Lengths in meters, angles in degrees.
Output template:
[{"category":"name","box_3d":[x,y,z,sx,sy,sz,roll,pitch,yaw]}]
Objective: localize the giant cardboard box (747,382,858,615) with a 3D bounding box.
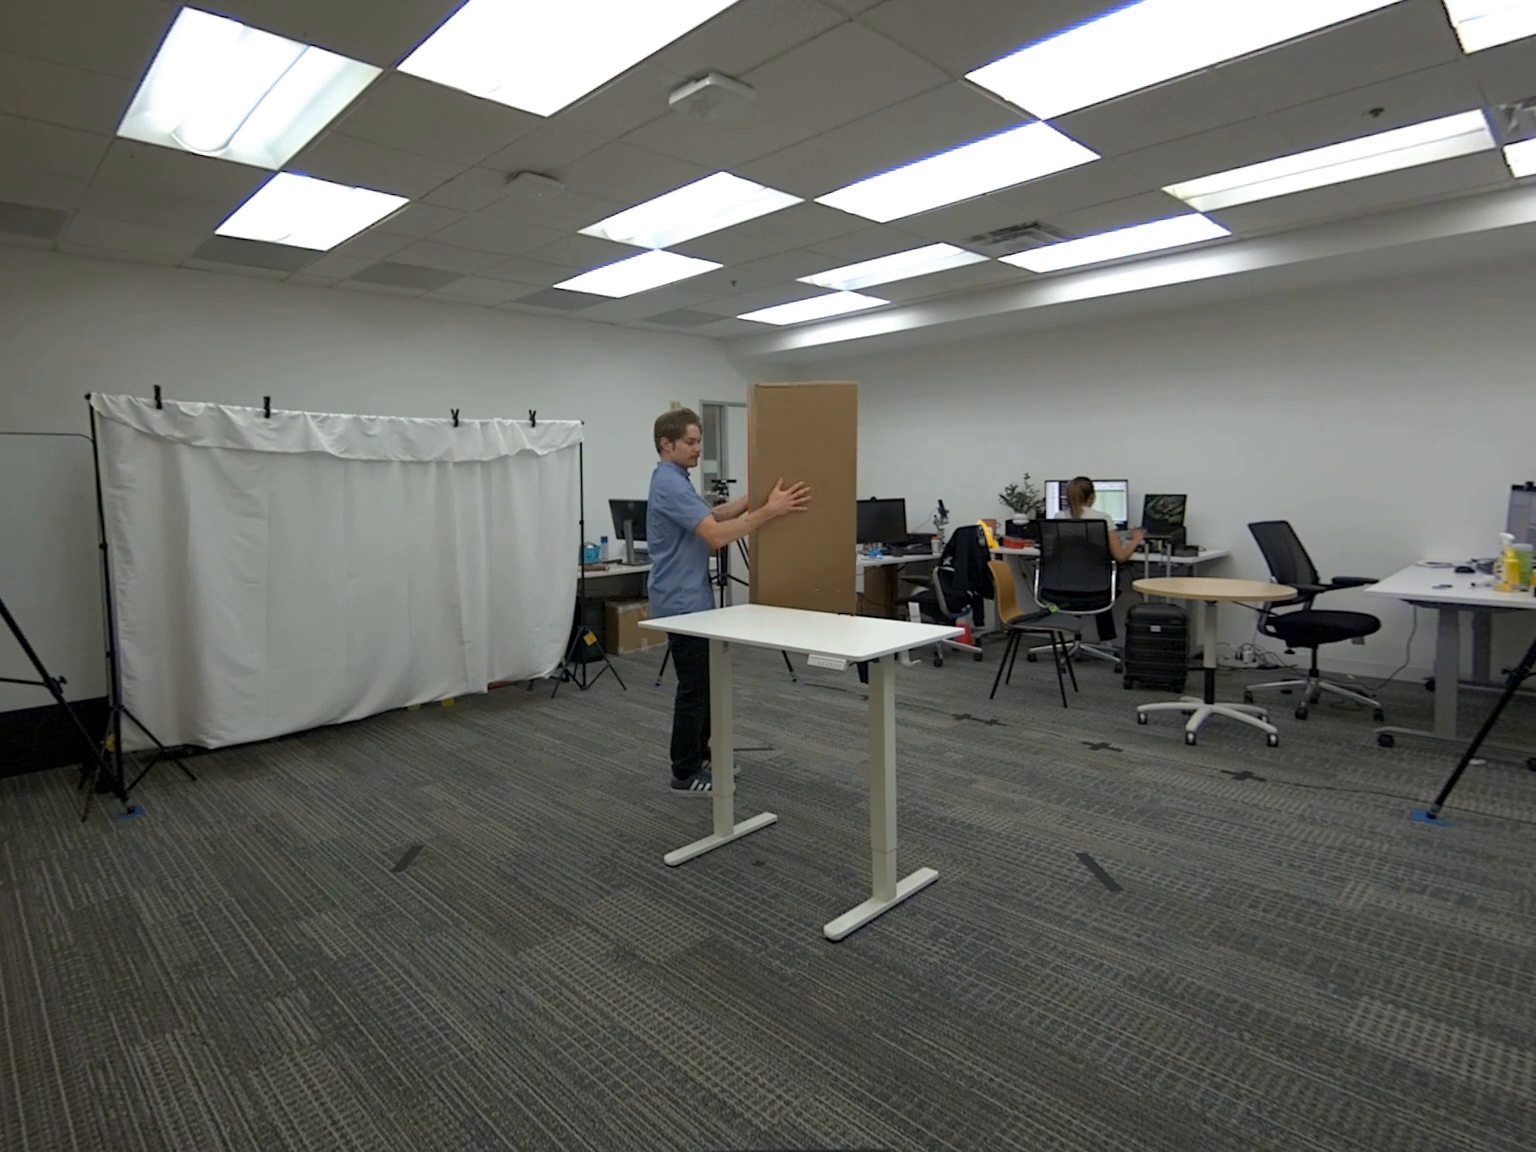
[{"category":"giant cardboard box","box_3d":[0.138,-0.345,3.838,0.426,1.017,0.583,0,9,-2]}]
